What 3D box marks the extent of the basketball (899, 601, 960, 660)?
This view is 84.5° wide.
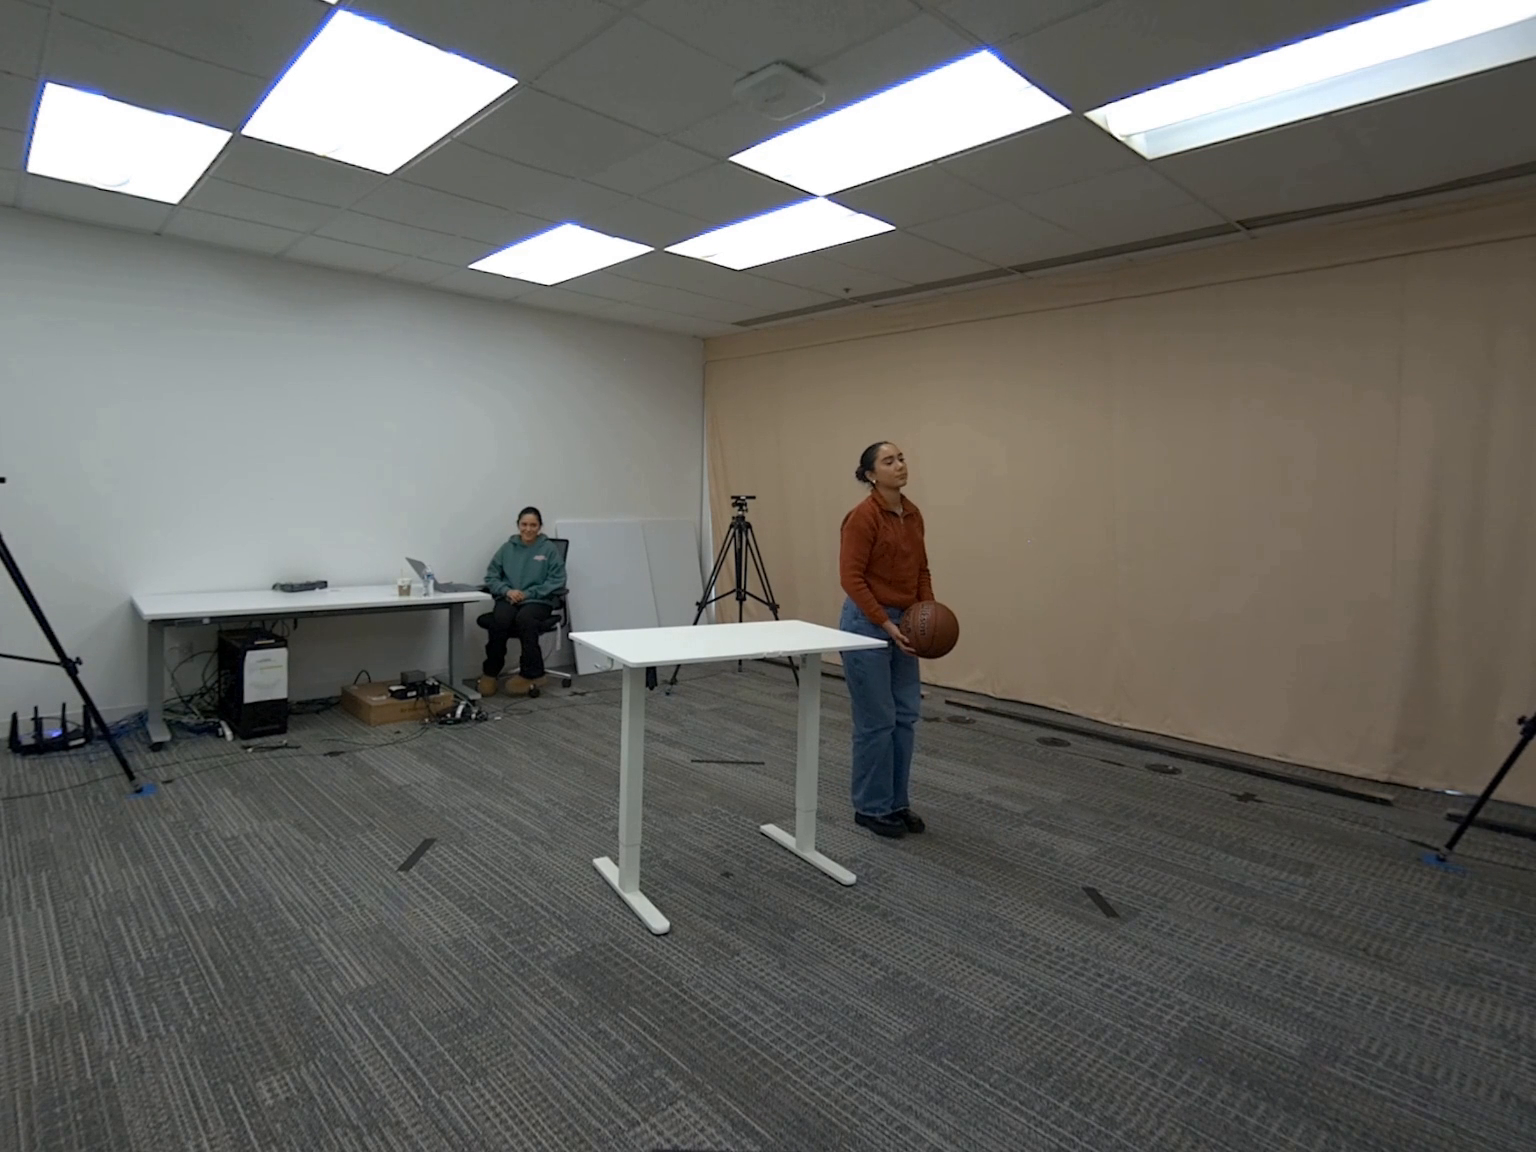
[{"bbox_3d":[0.636,0.215,3.415,0.236,0.235,0.237,1,4,-1],"label":"basketball"}]
